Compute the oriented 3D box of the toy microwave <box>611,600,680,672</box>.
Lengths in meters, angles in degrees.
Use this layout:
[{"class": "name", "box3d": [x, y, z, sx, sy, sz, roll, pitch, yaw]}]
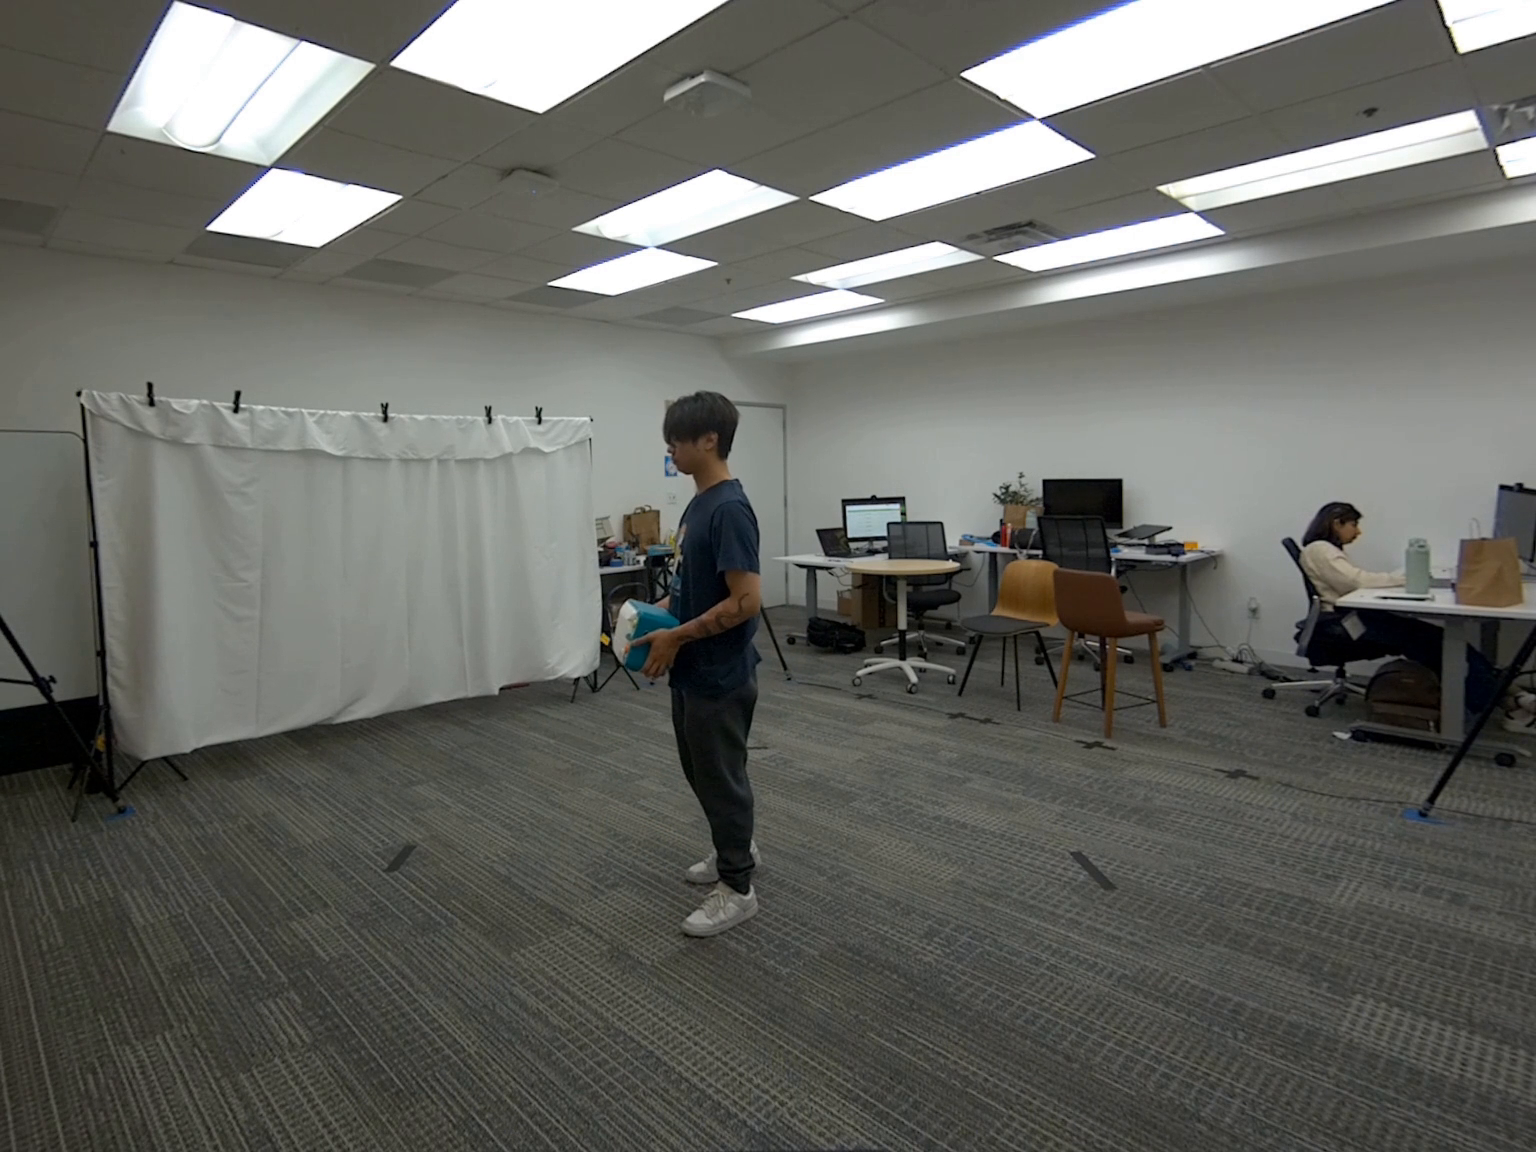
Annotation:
[{"class": "toy microwave", "box3d": [-0.385, 0.187, 2.662, 0.149, 0.184, 0.292, 16, 1, -17]}]
